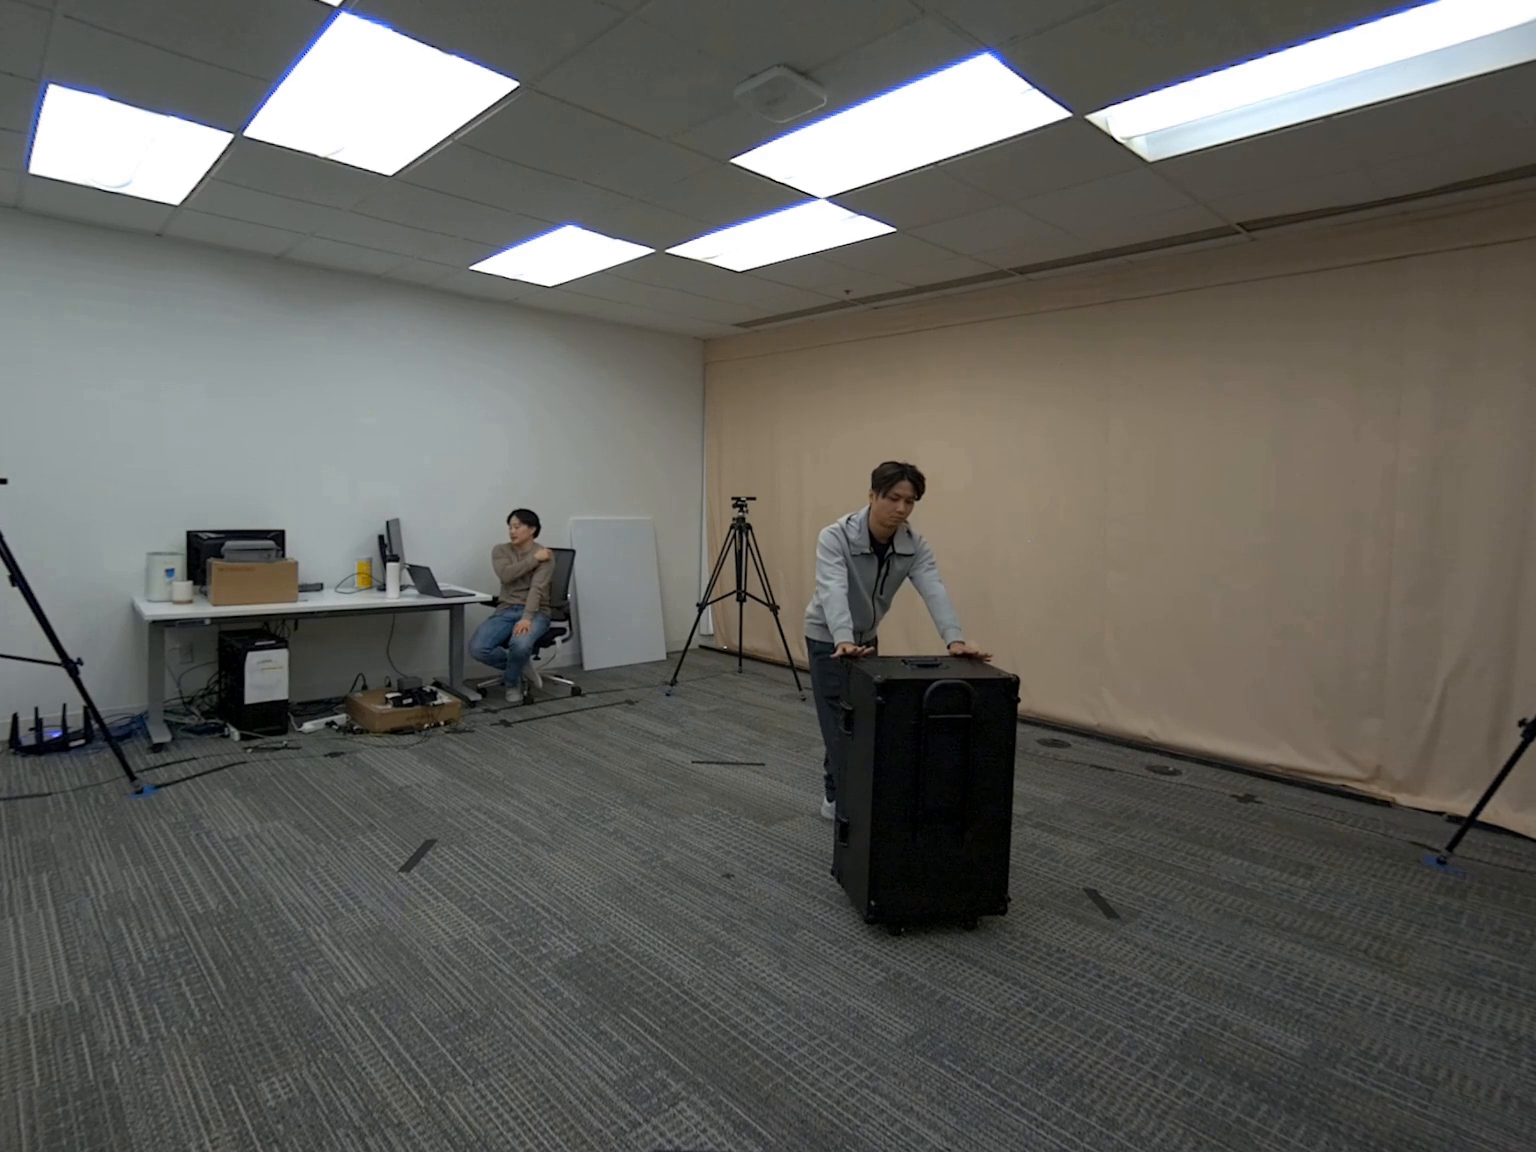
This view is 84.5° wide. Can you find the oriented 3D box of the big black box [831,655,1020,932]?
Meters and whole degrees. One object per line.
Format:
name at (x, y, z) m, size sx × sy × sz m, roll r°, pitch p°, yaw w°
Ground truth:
big black box at (0.514, 0.728, 2.817) m, size 0.516 × 0.858 × 0.401 m, roll 1°, pitch 5°, yaw -12°
